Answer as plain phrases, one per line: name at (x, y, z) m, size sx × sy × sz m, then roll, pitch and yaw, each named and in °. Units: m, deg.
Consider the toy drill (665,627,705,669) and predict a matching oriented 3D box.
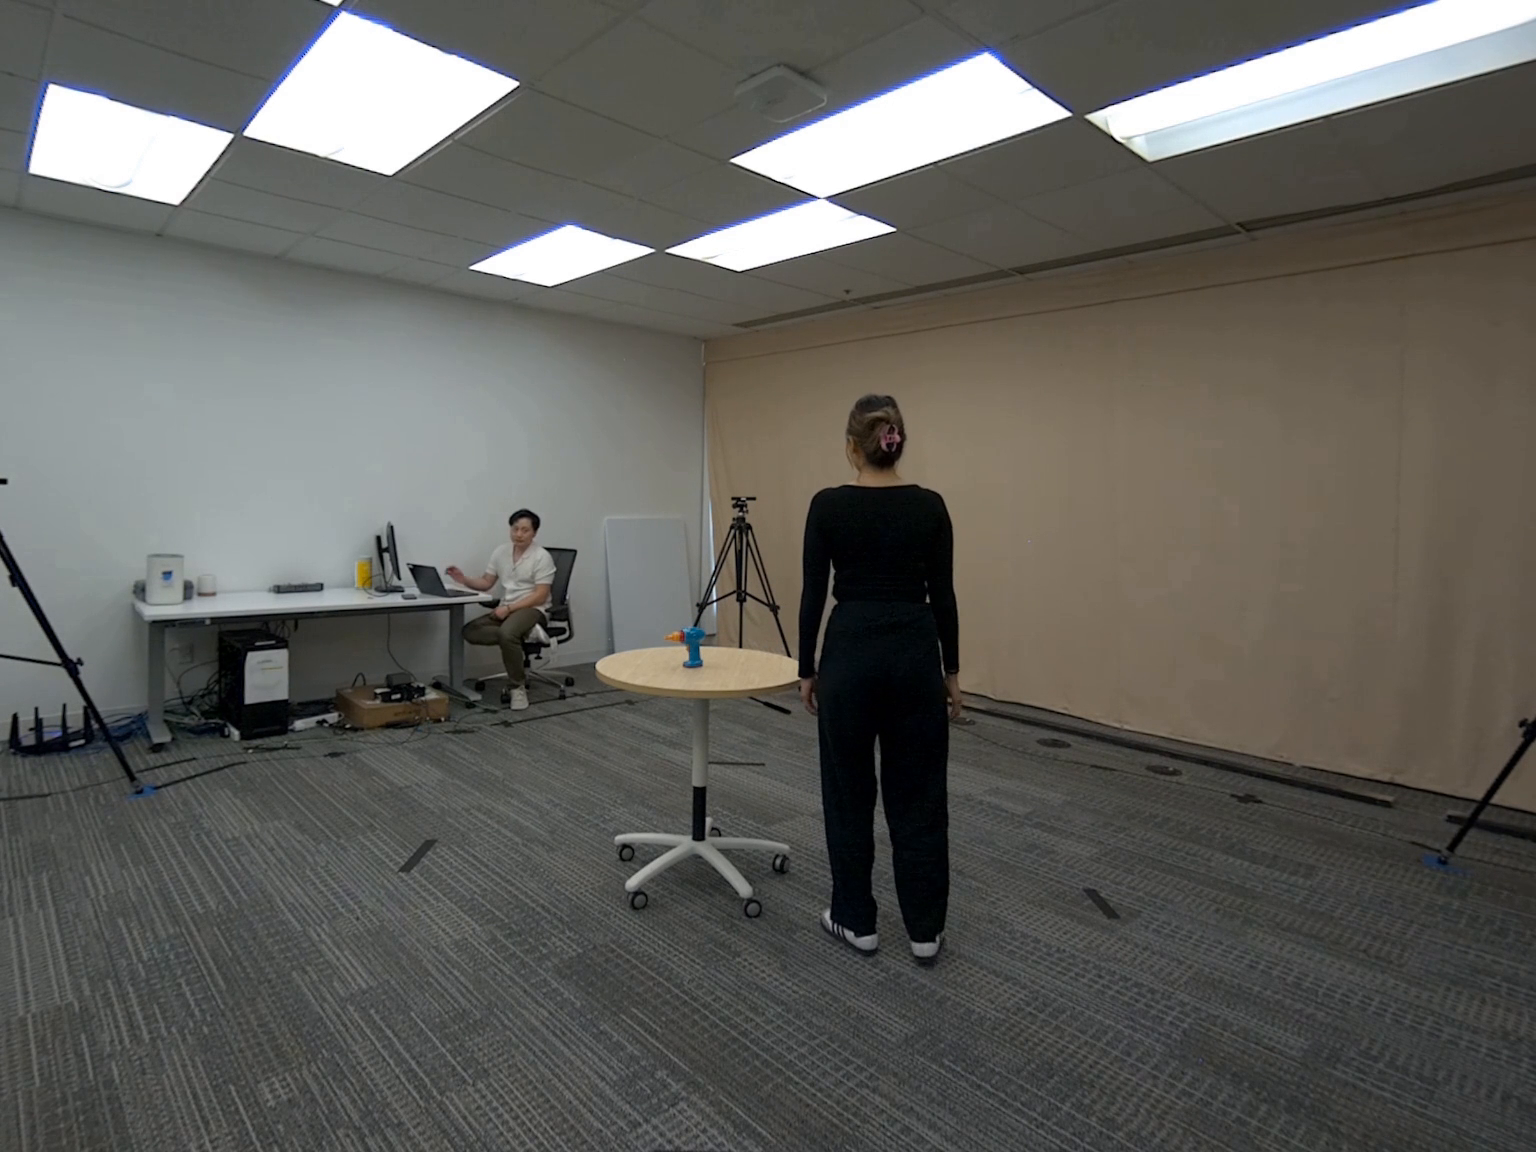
toy drill at (-0.301, 0.255, 2.999) m, size 0.166 × 0.145 × 0.063 m, roll -1°, pitch 6°, yaw -38°
